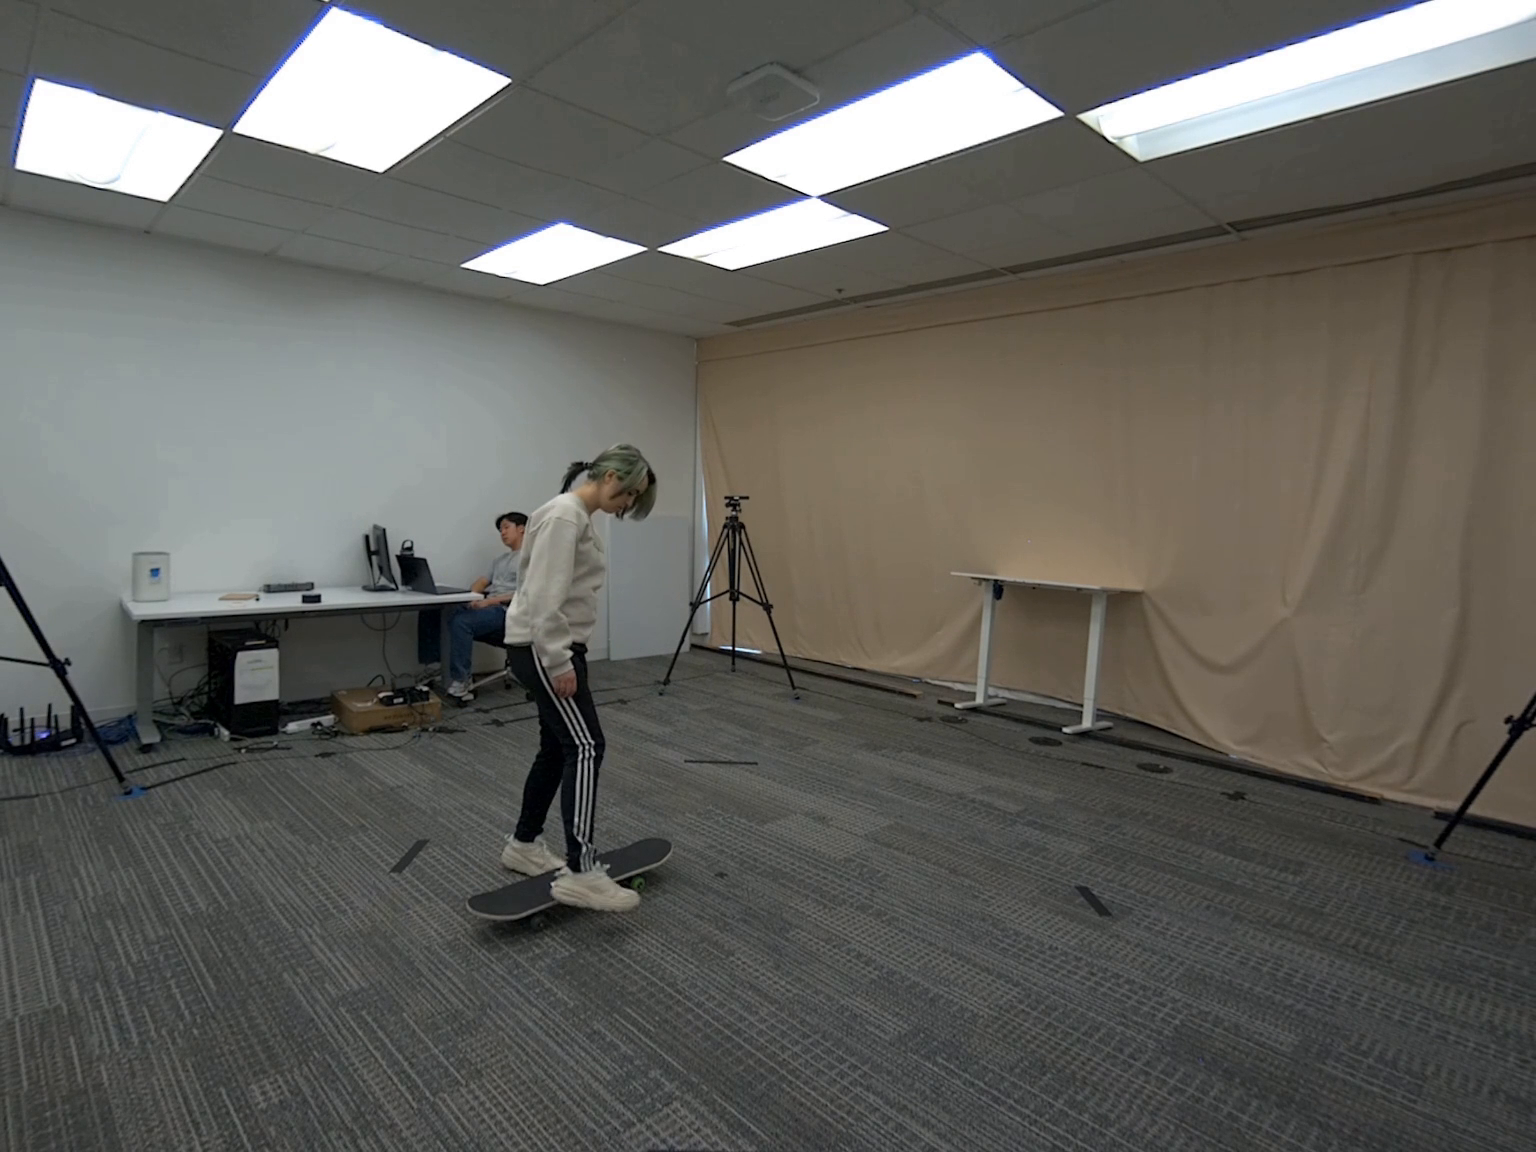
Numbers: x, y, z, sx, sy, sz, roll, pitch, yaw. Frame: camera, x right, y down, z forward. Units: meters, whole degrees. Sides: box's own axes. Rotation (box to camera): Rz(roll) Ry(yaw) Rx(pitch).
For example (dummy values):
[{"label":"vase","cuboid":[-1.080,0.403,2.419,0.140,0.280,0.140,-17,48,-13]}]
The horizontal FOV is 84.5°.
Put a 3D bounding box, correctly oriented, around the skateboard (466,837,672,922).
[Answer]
[{"label":"skateboard","cuboid":[-0.653,1.056,2.863,0.198,0.110,0.768,7,8,43]}]
